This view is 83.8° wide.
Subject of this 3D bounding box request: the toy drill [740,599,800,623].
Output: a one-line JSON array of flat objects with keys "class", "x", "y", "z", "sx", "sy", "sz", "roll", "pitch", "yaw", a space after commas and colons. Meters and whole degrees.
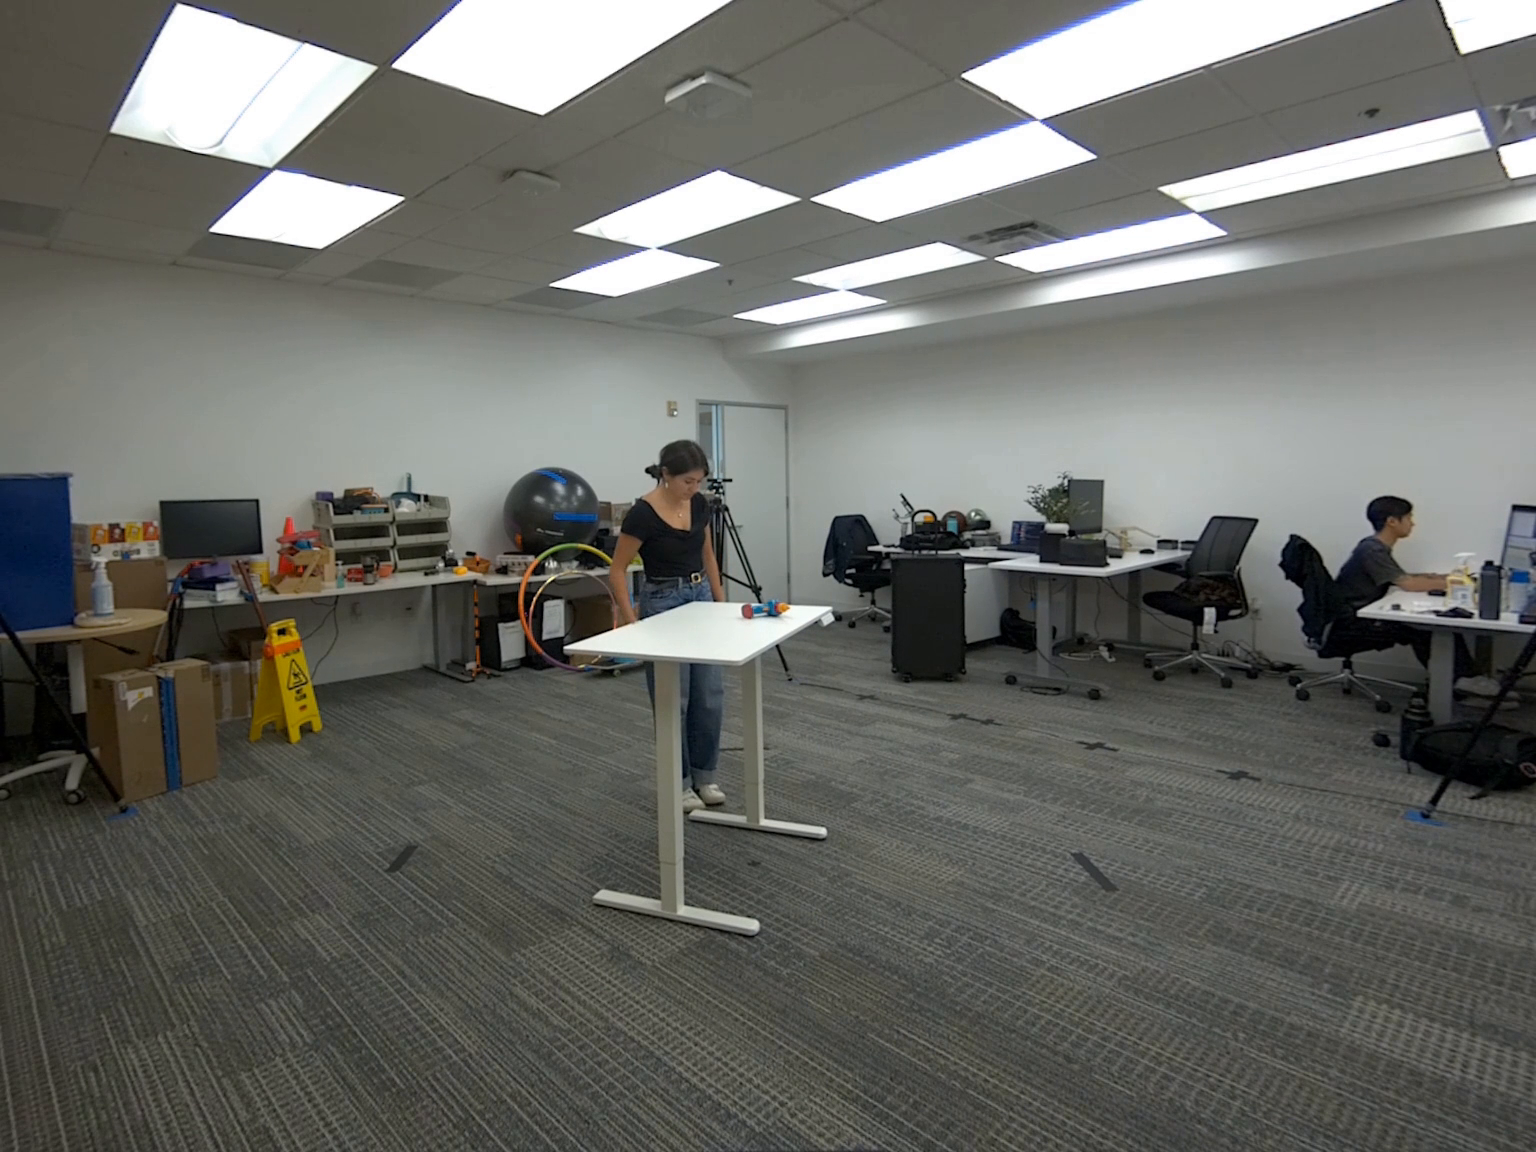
[{"class": "toy drill", "x": 0.004, "y": 0.124, "z": 3.152, "sx": 0.143, "sy": 0.061, "sz": 0.174, "roll": -7, "pitch": 3, "yaw": -31}]
